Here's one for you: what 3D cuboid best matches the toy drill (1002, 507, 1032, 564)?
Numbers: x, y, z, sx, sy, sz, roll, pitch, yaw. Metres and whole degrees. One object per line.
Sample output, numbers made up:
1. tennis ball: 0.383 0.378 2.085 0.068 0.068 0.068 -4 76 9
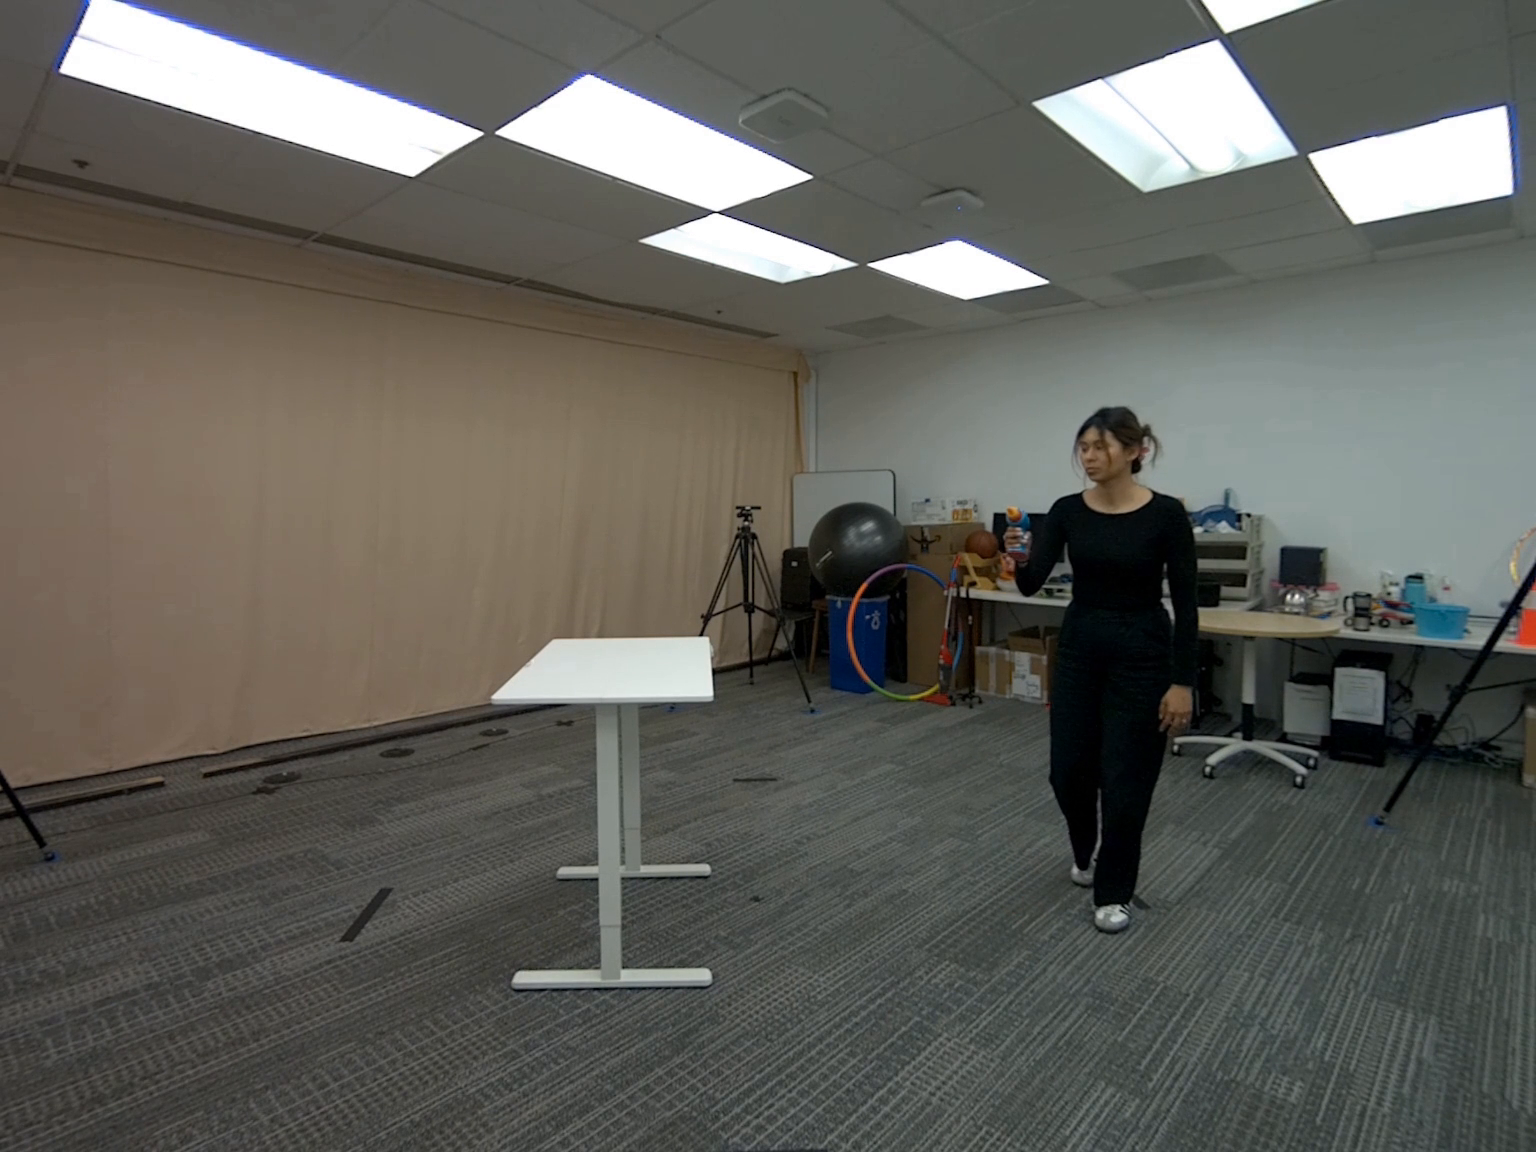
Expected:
1. toy drill: 0.789 -0.138 2.559 0.062 0.149 0.164 -24 -31 19
